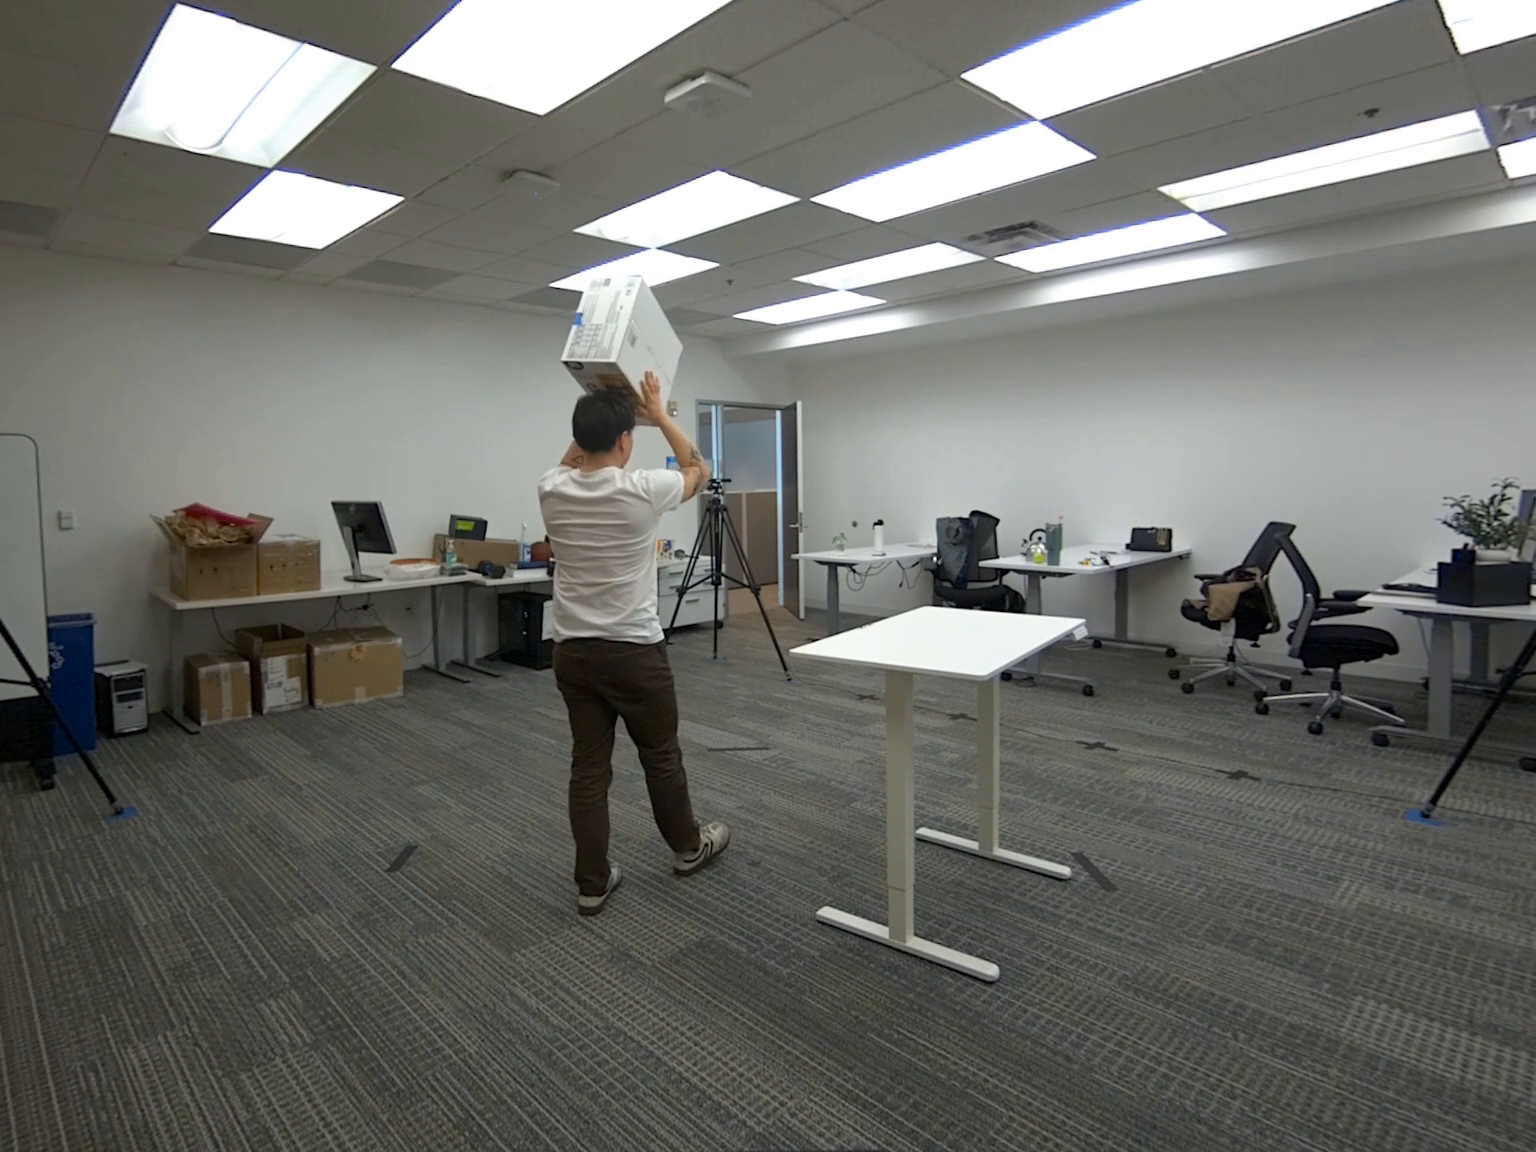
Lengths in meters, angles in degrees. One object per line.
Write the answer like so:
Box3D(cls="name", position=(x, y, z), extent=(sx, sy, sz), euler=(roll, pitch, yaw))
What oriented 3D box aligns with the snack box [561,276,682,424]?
Box3D(cls="snack box", position=(-0.482, -0.766, 2.930), extent=(0.210, 0.344, 0.392), euler=(6, -20, 17))
